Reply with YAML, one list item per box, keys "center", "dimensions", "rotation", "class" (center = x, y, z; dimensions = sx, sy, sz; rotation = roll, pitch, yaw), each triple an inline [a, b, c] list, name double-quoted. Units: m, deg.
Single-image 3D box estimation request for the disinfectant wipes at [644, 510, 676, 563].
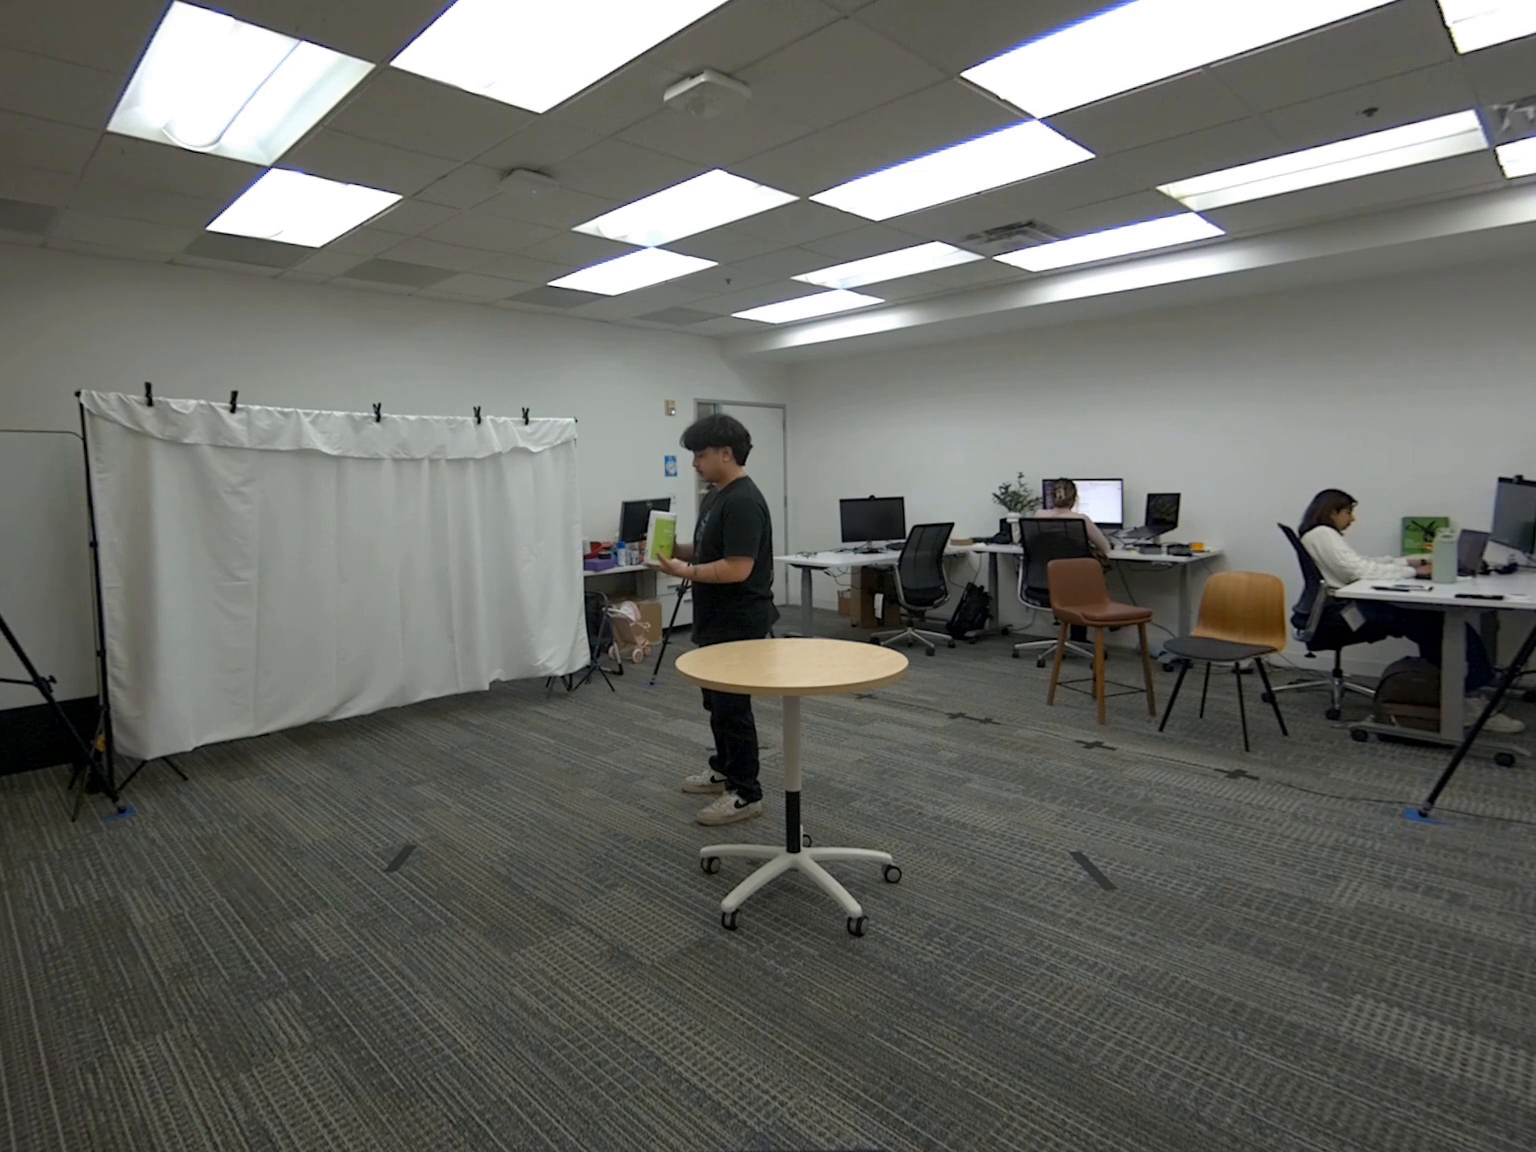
- center: [-0.437, -0.152, 3.445]
  dimensions: [0.117, 0.216, 0.118]
  rotation: [8, 6, -3]
  class: "disinfectant wipes"
